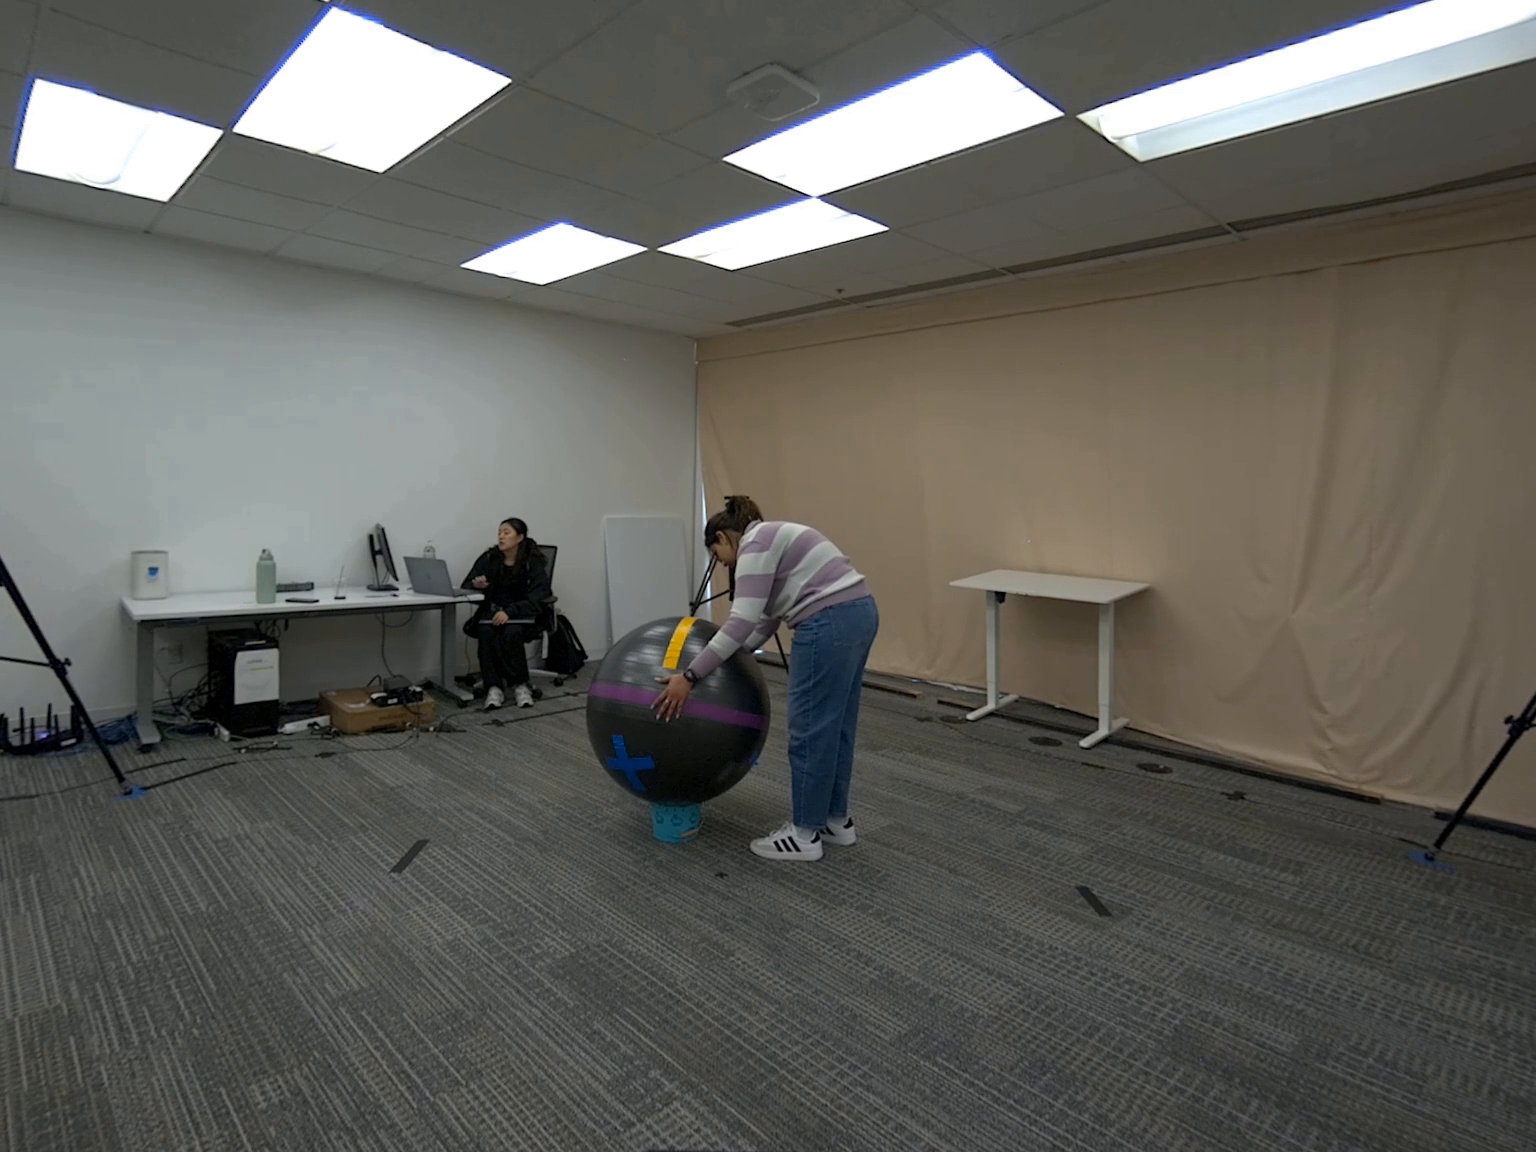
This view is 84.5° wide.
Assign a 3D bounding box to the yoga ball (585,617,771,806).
[{"bbox_3d":[-0.377,0.553,3.470,0.757,0.756,0.761,1,4,-1],"label":"yoga ball"}]
